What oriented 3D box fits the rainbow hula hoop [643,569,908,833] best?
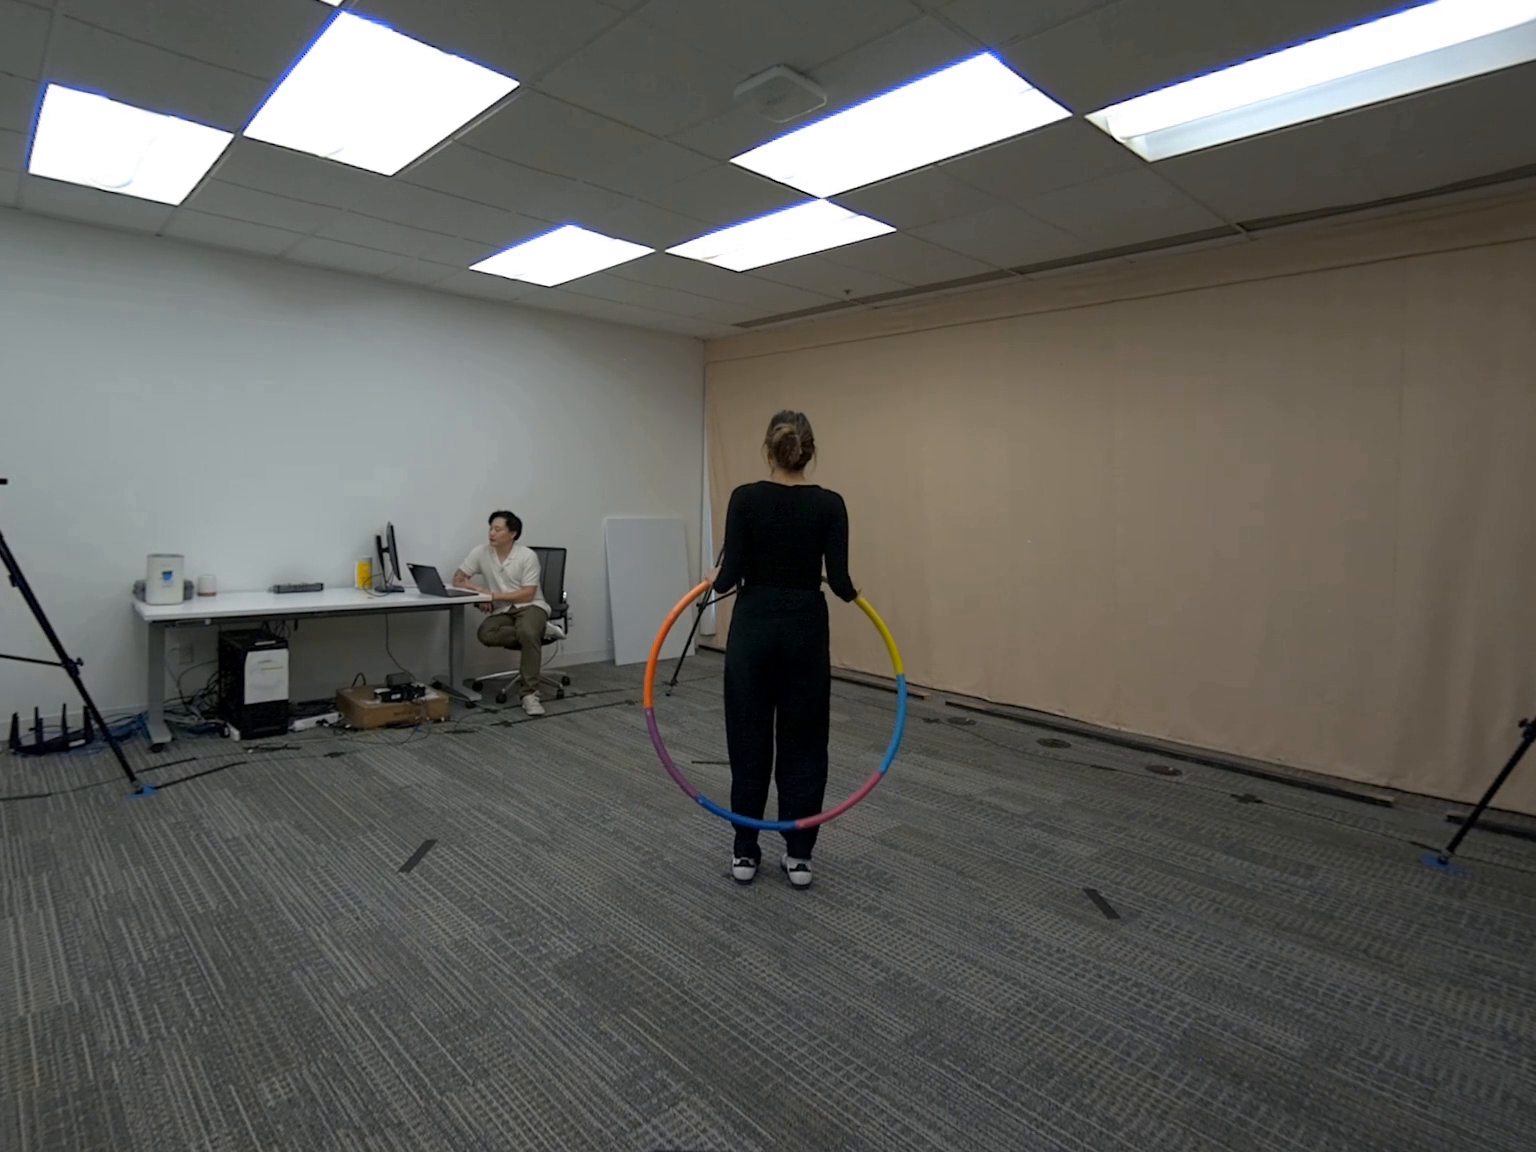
[{"bbox_3d":[0.018,0.432,3.146,0.978,0.989,0.035,1,-16,-1],"label":"rainbow hula hoop"}]
